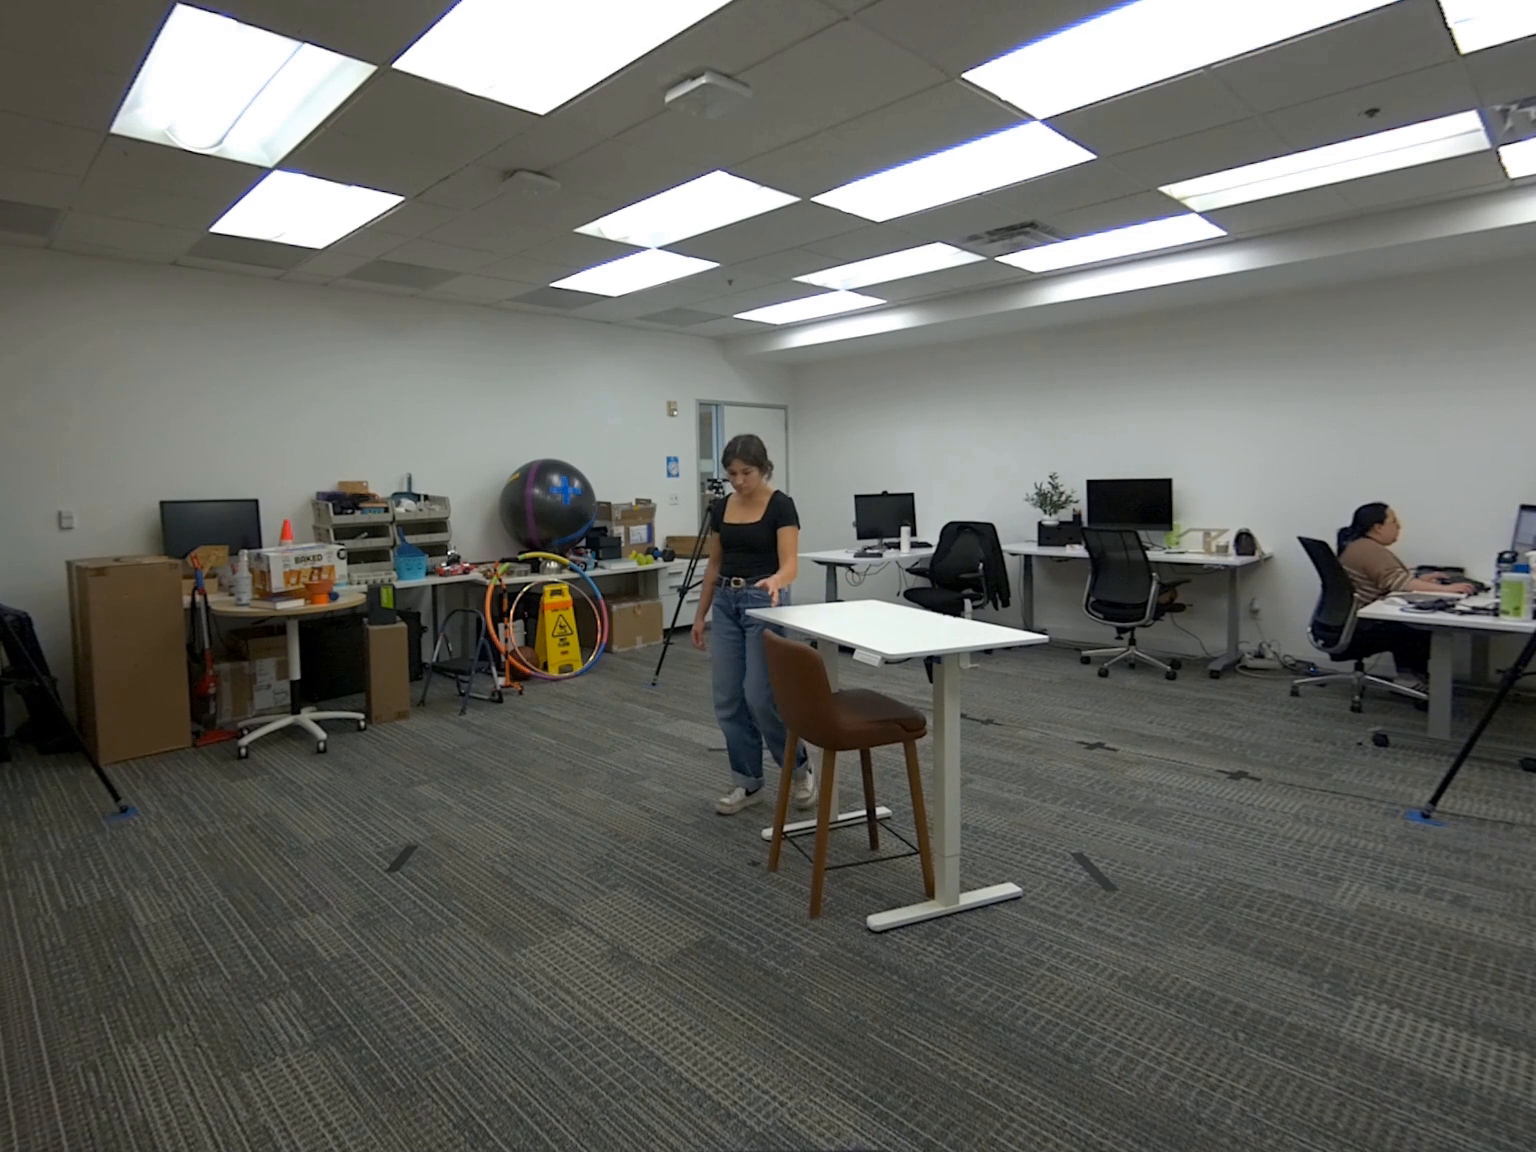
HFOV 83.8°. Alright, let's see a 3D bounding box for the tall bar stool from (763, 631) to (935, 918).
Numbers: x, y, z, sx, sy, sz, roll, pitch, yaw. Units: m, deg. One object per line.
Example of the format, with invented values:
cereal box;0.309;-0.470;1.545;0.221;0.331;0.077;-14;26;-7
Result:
tall bar stool;0.271;0.632;2.927;0.459;0.886;0.466;-4;5;-21
